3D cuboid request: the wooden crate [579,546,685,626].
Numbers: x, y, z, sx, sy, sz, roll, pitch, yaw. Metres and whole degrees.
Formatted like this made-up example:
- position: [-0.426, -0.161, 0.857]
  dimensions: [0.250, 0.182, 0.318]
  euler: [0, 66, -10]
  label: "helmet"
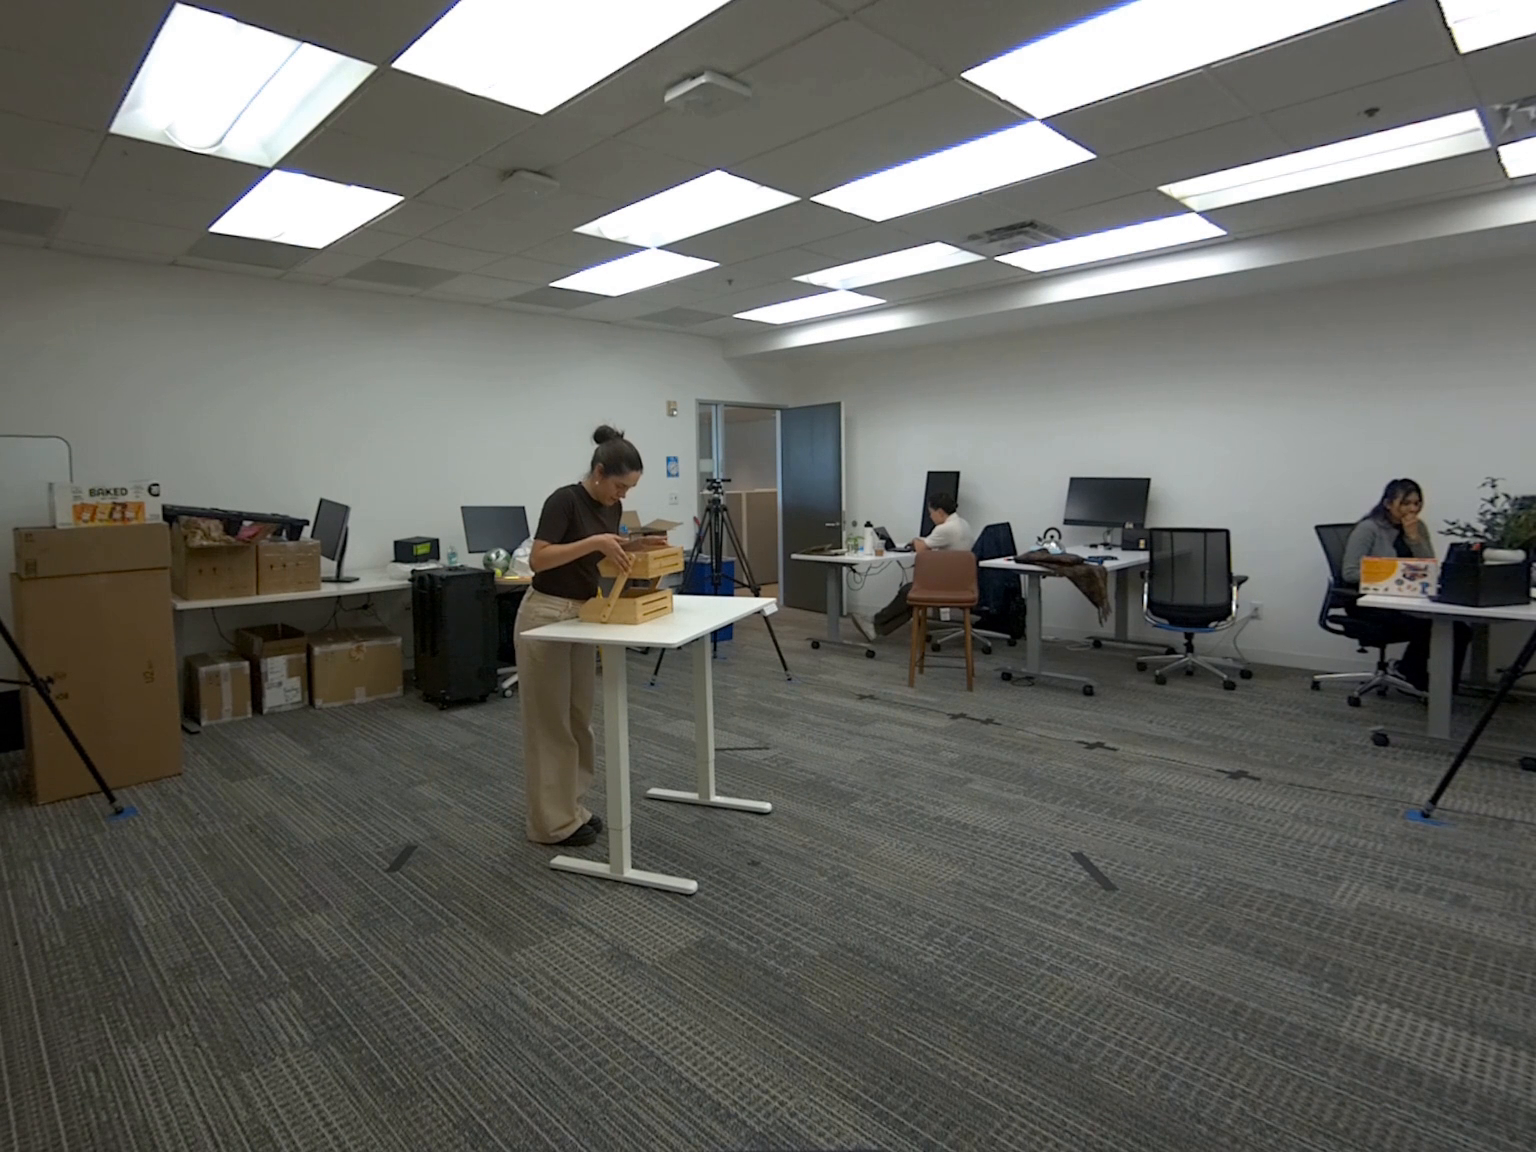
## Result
- position: [-0.516, 0.027, 3.229]
  dimensions: [0.308, 0.272, 0.319]
  euler: [0, 6, 21]
  label: "wooden crate"
